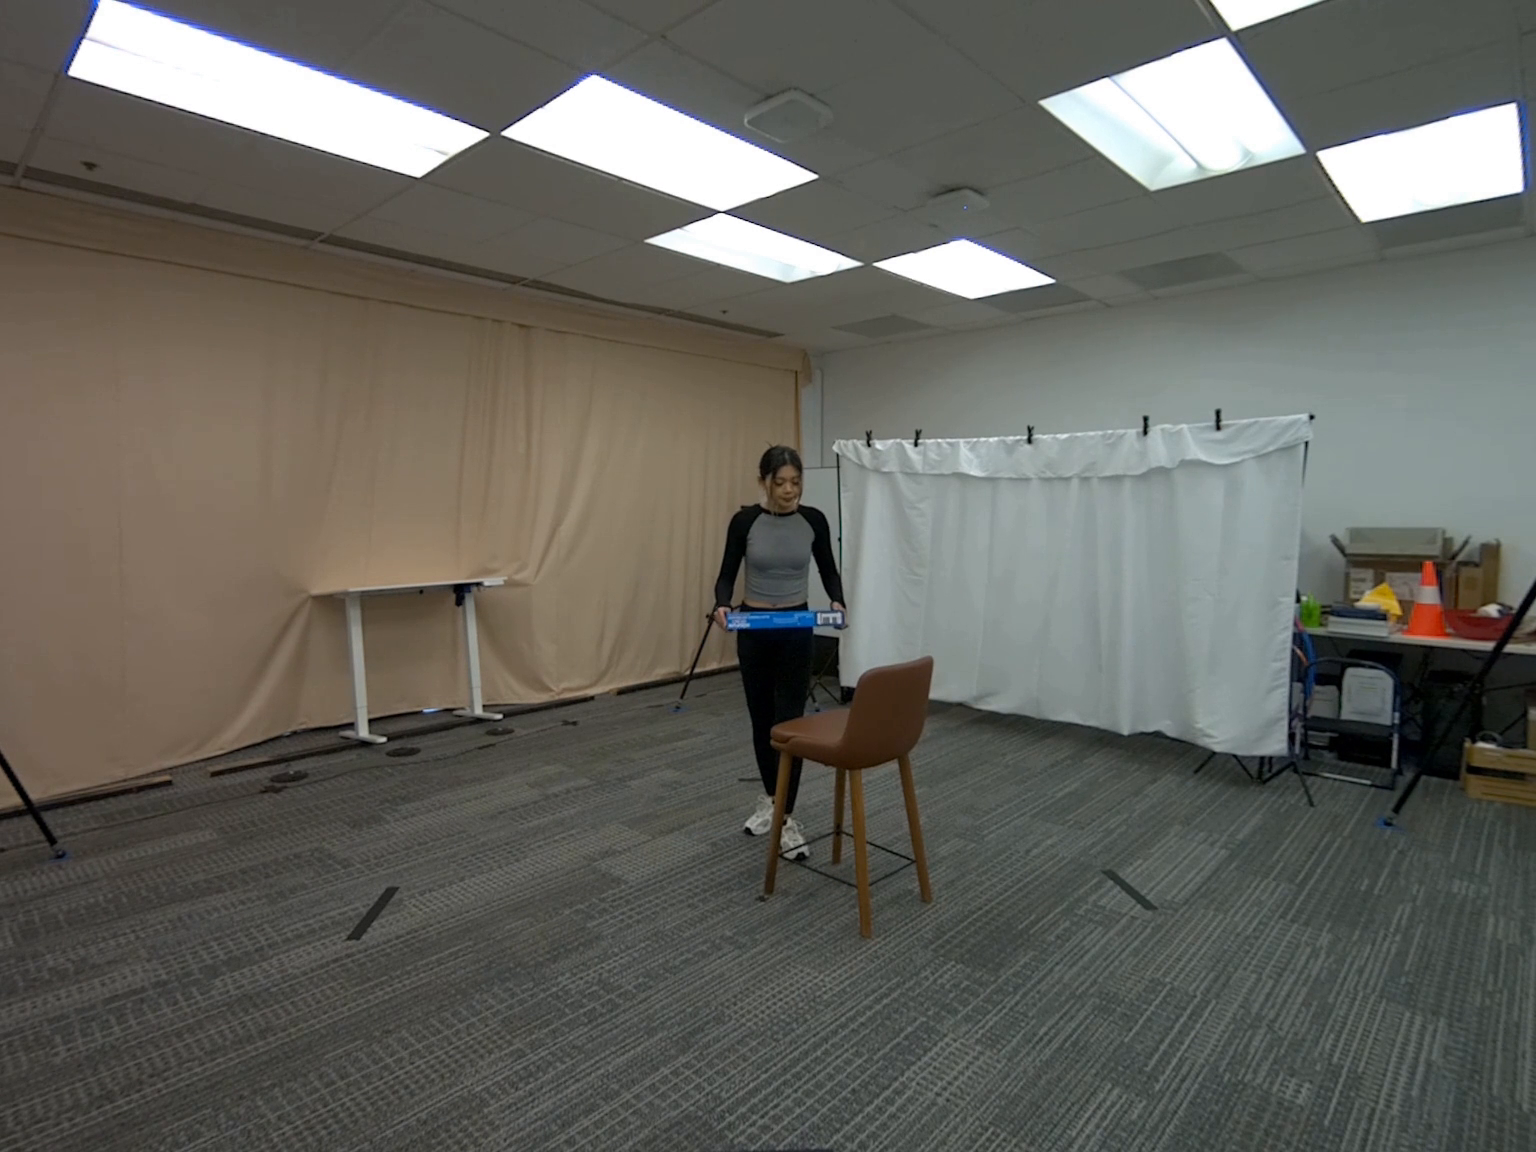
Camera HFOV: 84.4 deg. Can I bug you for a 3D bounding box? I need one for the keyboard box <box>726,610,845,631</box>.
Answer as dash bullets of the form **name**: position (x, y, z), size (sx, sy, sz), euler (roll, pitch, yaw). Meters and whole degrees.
- **keyboard box**: position (0.068, 0.167, 3.196), size (0.435, 0.059, 0.176), euler (-2, -1, -4)
